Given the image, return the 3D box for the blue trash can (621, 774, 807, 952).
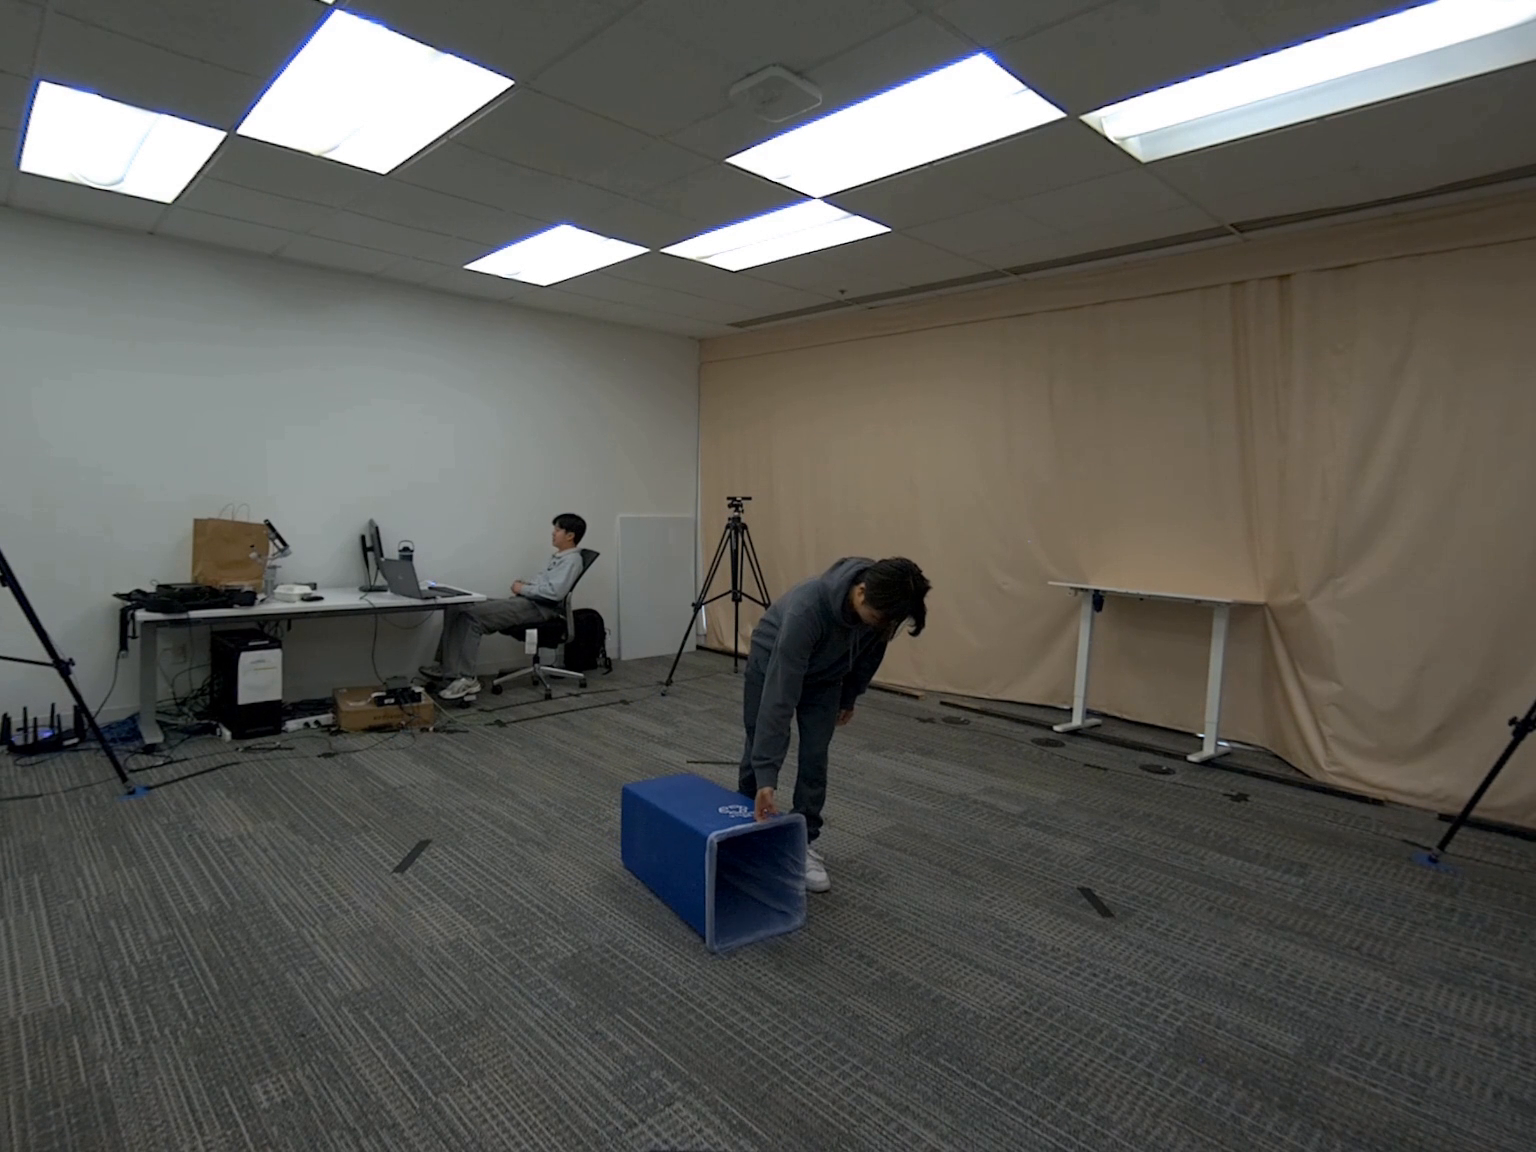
[{"bbox_3d":[-0.237,0.951,2.937,0.366,0.378,0.730,-2,2,-35],"label":"blue trash can"}]
